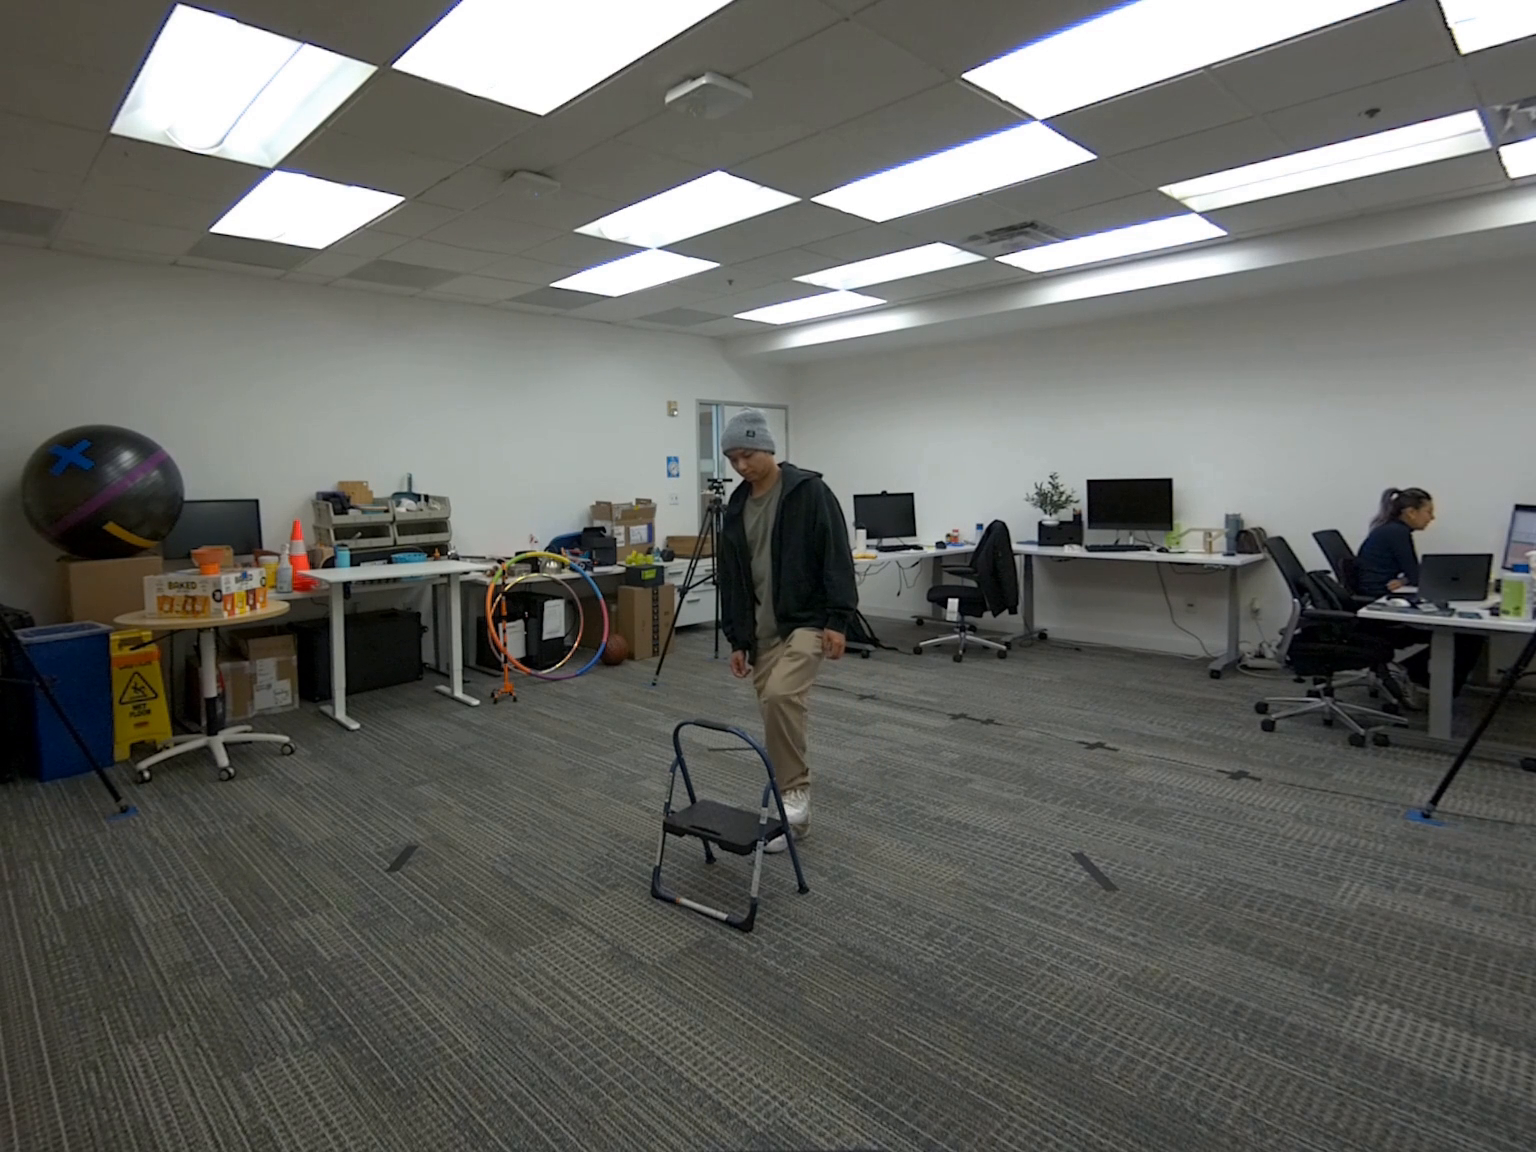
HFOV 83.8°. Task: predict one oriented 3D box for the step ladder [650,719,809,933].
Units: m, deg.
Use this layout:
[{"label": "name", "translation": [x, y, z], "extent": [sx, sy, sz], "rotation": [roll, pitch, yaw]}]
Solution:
[{"label": "step ladder", "translation": [-0.135, 0.770, 2.866], "extent": [0.443, 0.604, 0.340], "rotation": [2, 5, 35]}]
